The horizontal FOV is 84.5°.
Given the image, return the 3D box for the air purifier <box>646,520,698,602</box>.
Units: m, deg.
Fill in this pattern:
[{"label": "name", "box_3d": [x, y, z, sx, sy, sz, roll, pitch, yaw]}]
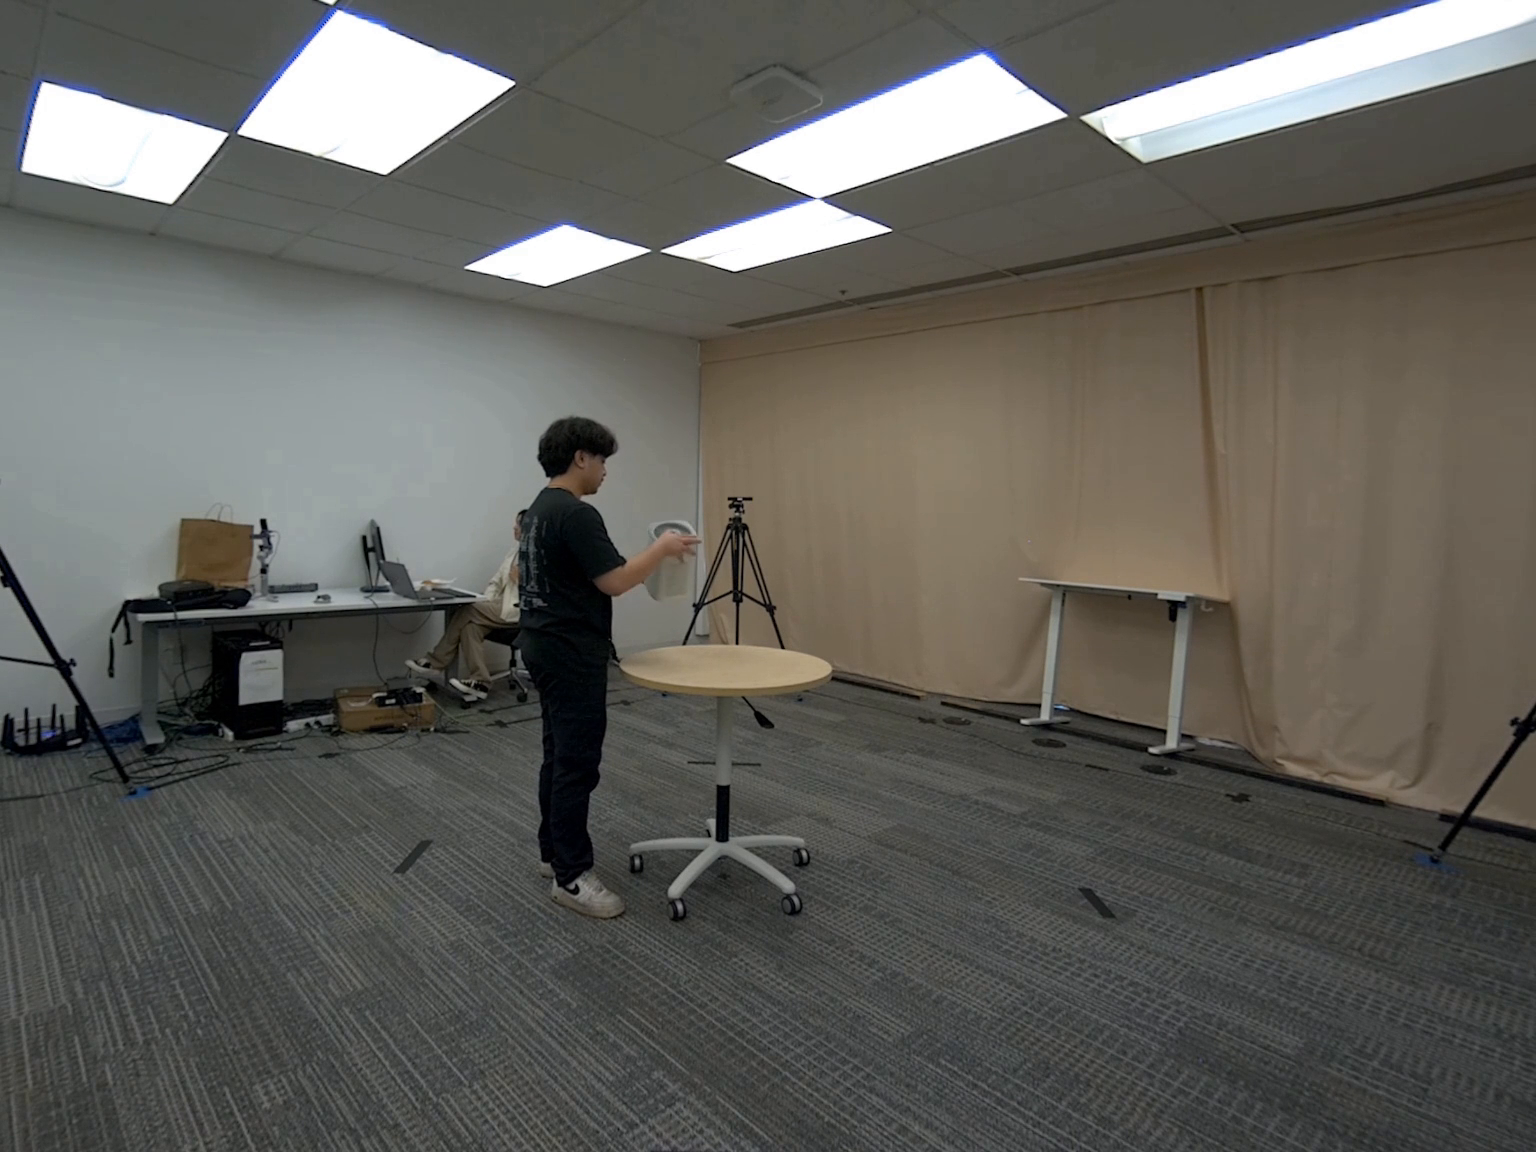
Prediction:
[{"label": "air purifier", "box_3d": [-0.383, -0.051, 3.187, 0.169, 0.261, 0.176, -8, 35, -26]}]
